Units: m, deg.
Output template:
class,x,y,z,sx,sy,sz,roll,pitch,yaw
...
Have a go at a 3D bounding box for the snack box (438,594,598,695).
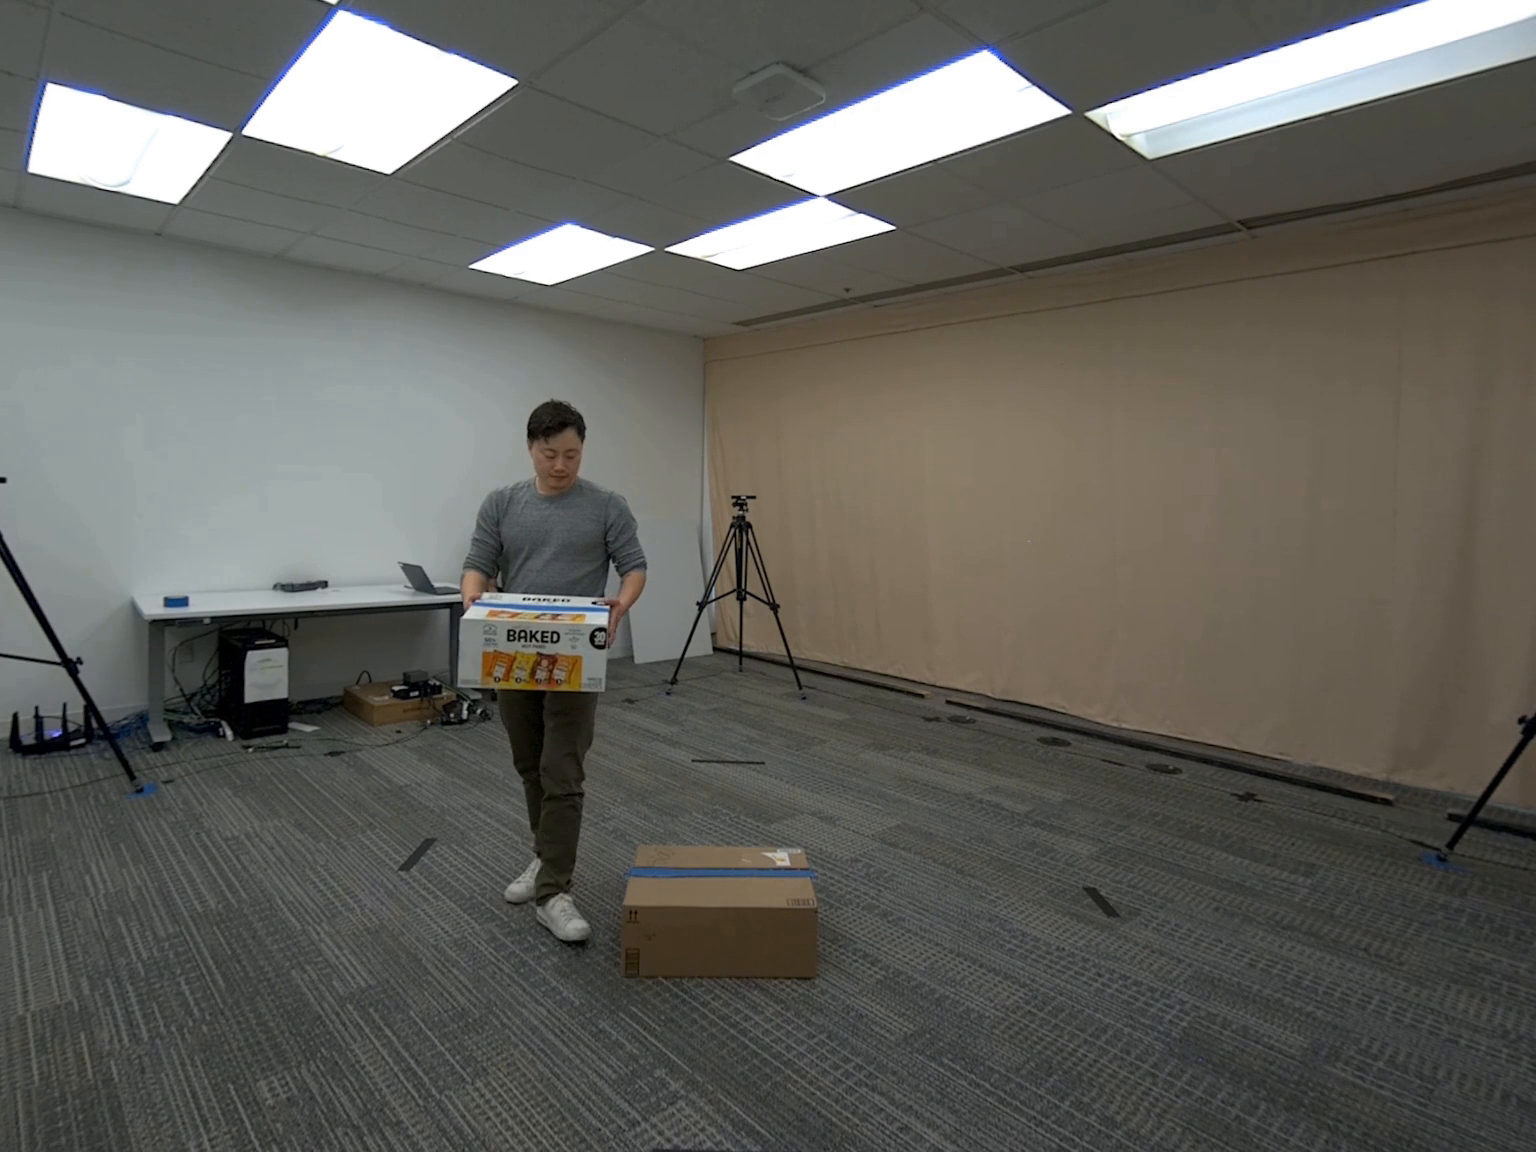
class,x,y,z,sx,sy,sz,roll,pitch,yaw
snack box,-0.725,0.197,2.504,0.403,0.204,0.344,4,9,-8
